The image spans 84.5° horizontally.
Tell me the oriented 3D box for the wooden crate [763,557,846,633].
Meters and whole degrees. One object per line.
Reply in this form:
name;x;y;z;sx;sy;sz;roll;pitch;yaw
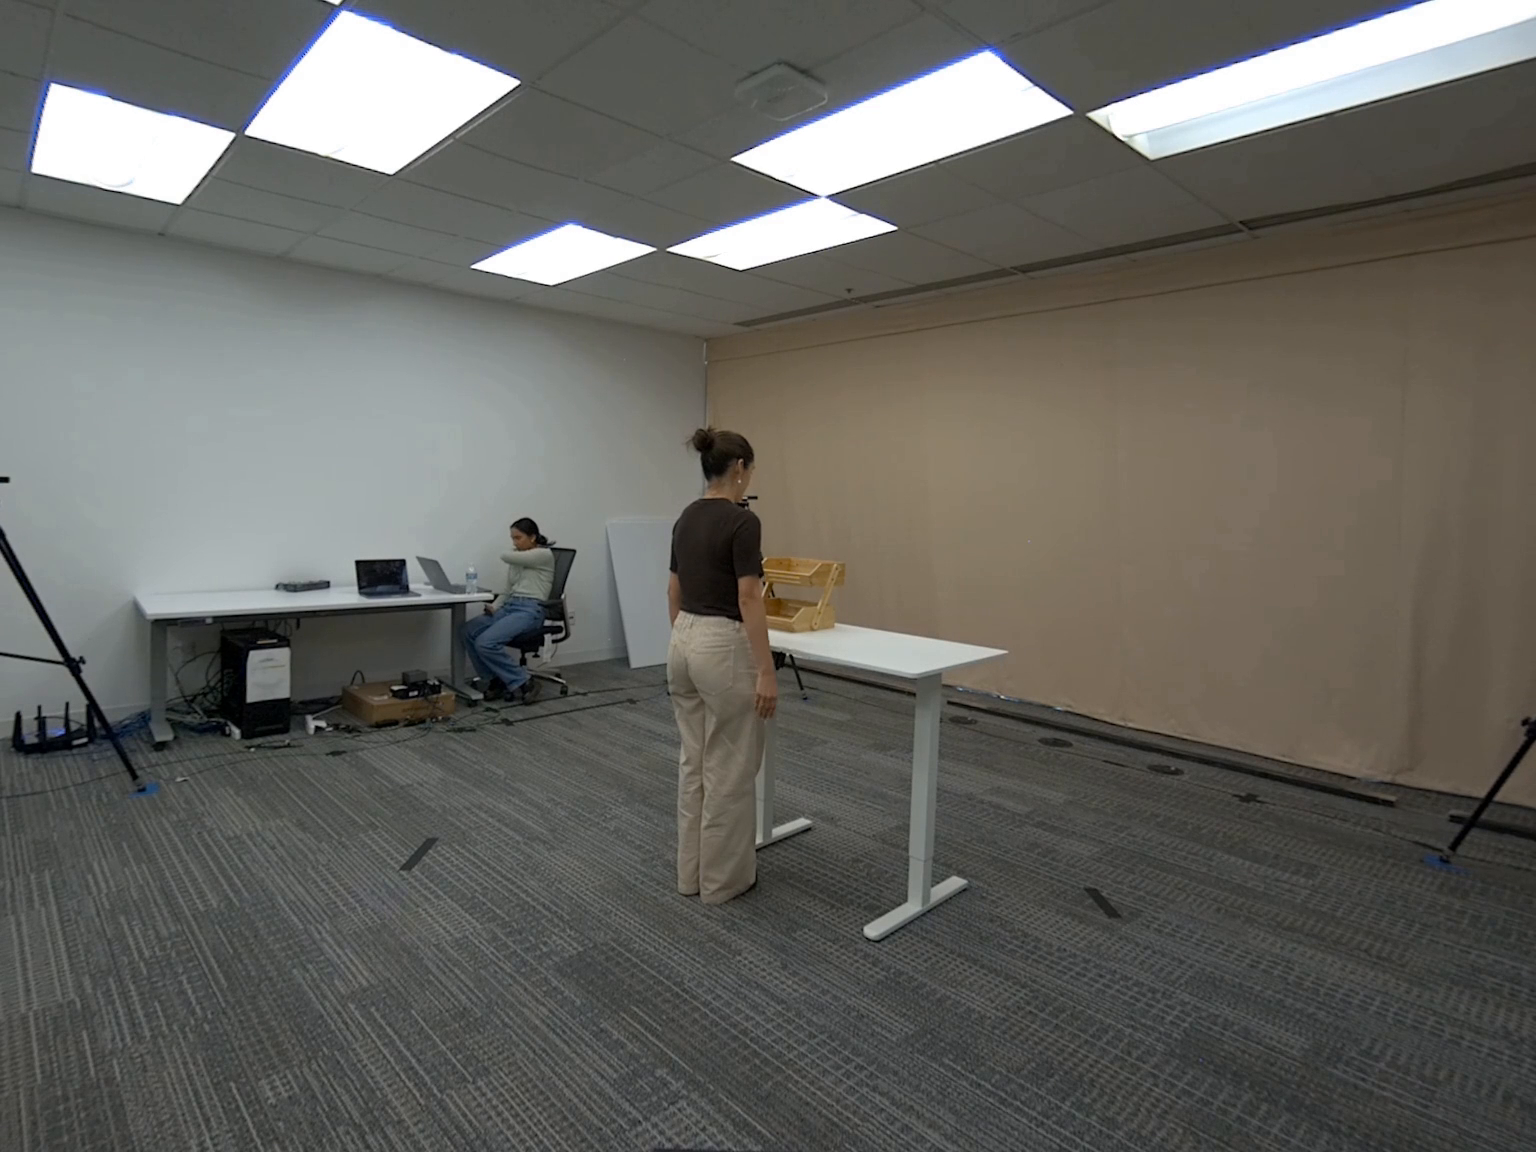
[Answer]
wooden crate;0.088;0.065;3.381;0.333;0.273;0.295;6;5;44
